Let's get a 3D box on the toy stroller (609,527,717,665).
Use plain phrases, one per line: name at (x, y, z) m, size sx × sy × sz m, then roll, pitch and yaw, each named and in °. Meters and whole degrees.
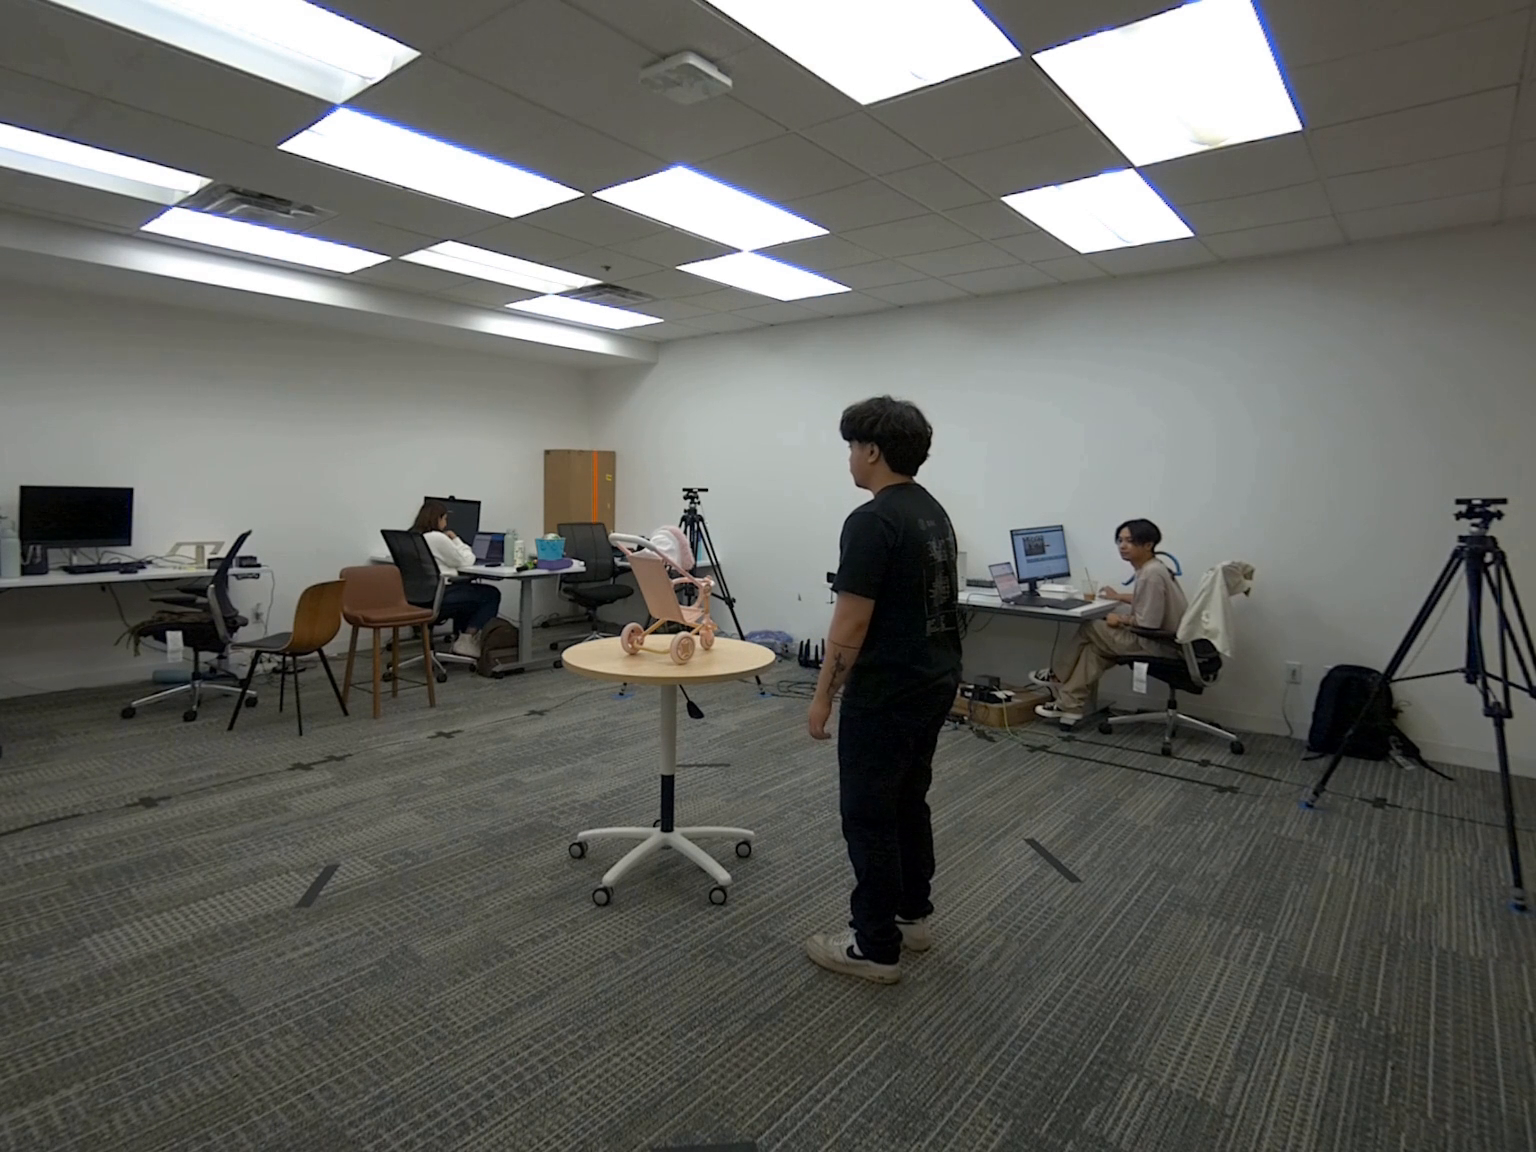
toy stroller at (-0.356, 0.060, 3.005) m, size 0.291 × 0.527 × 0.335 m, roll 5°, pitch 20°, yaw 44°
